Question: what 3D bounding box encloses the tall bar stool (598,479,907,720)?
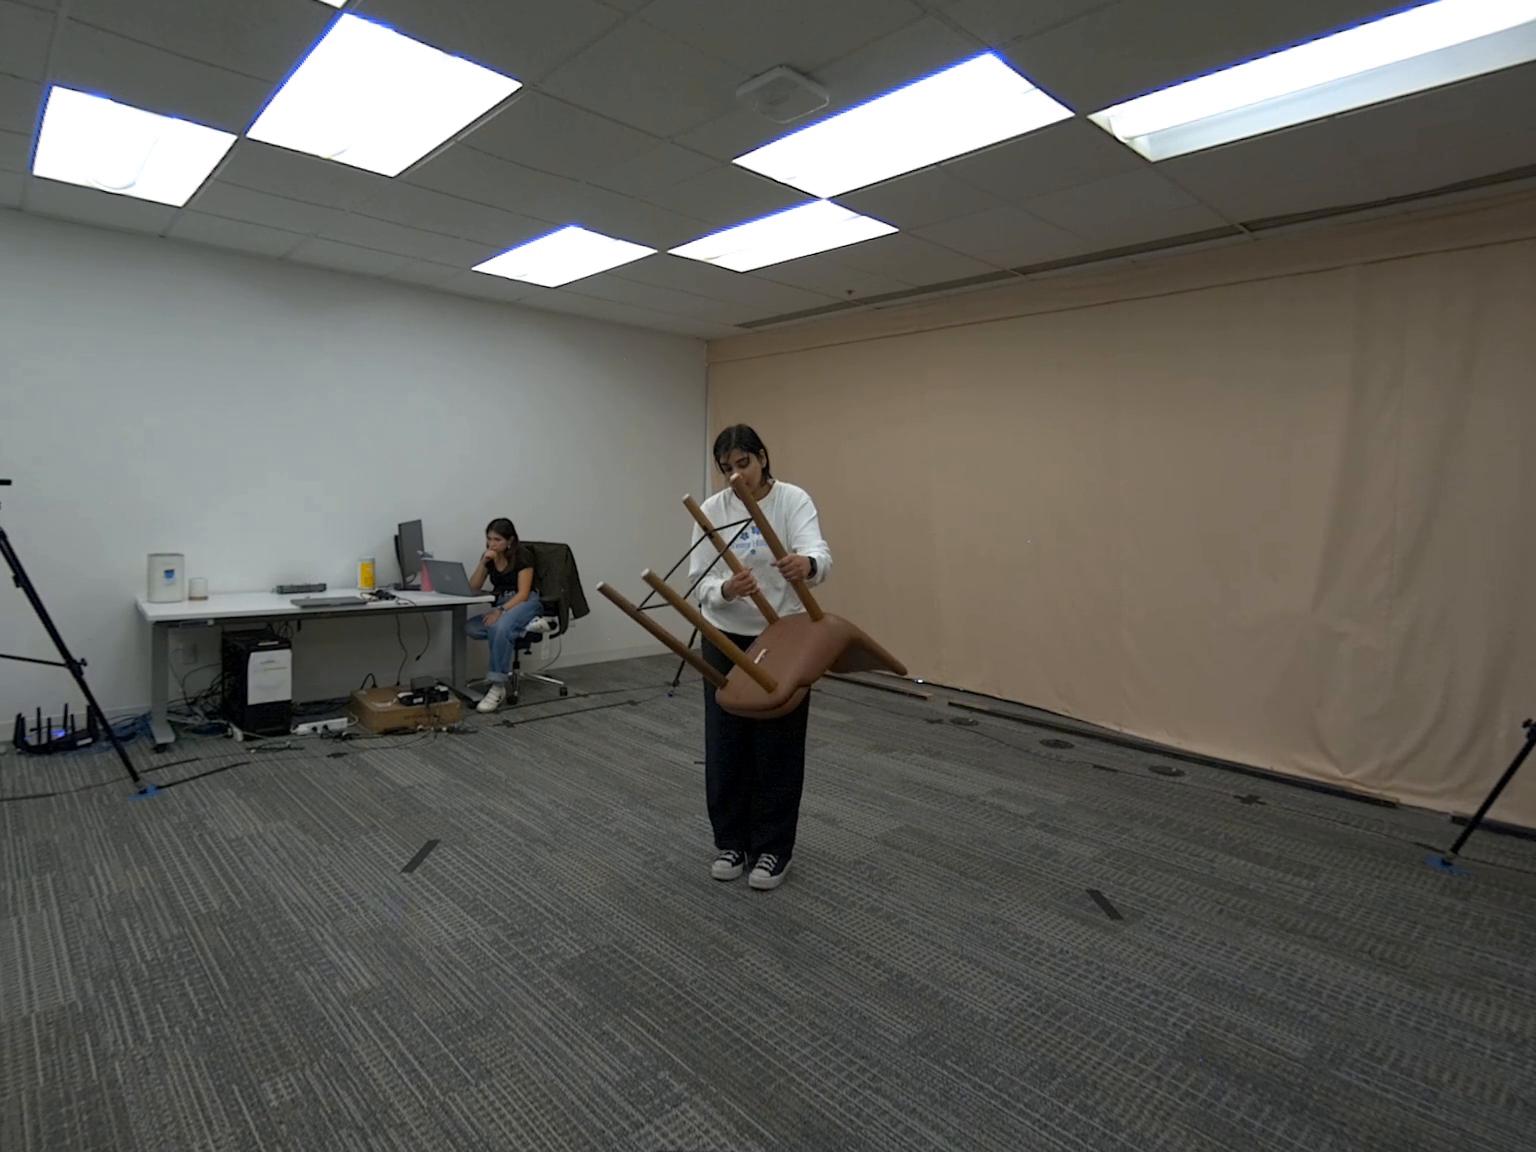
[{"bbox_3d":[-0.044,0.170,2.693,0.468,0.875,0.463,-50,17,-24],"label":"tall bar stool"}]
